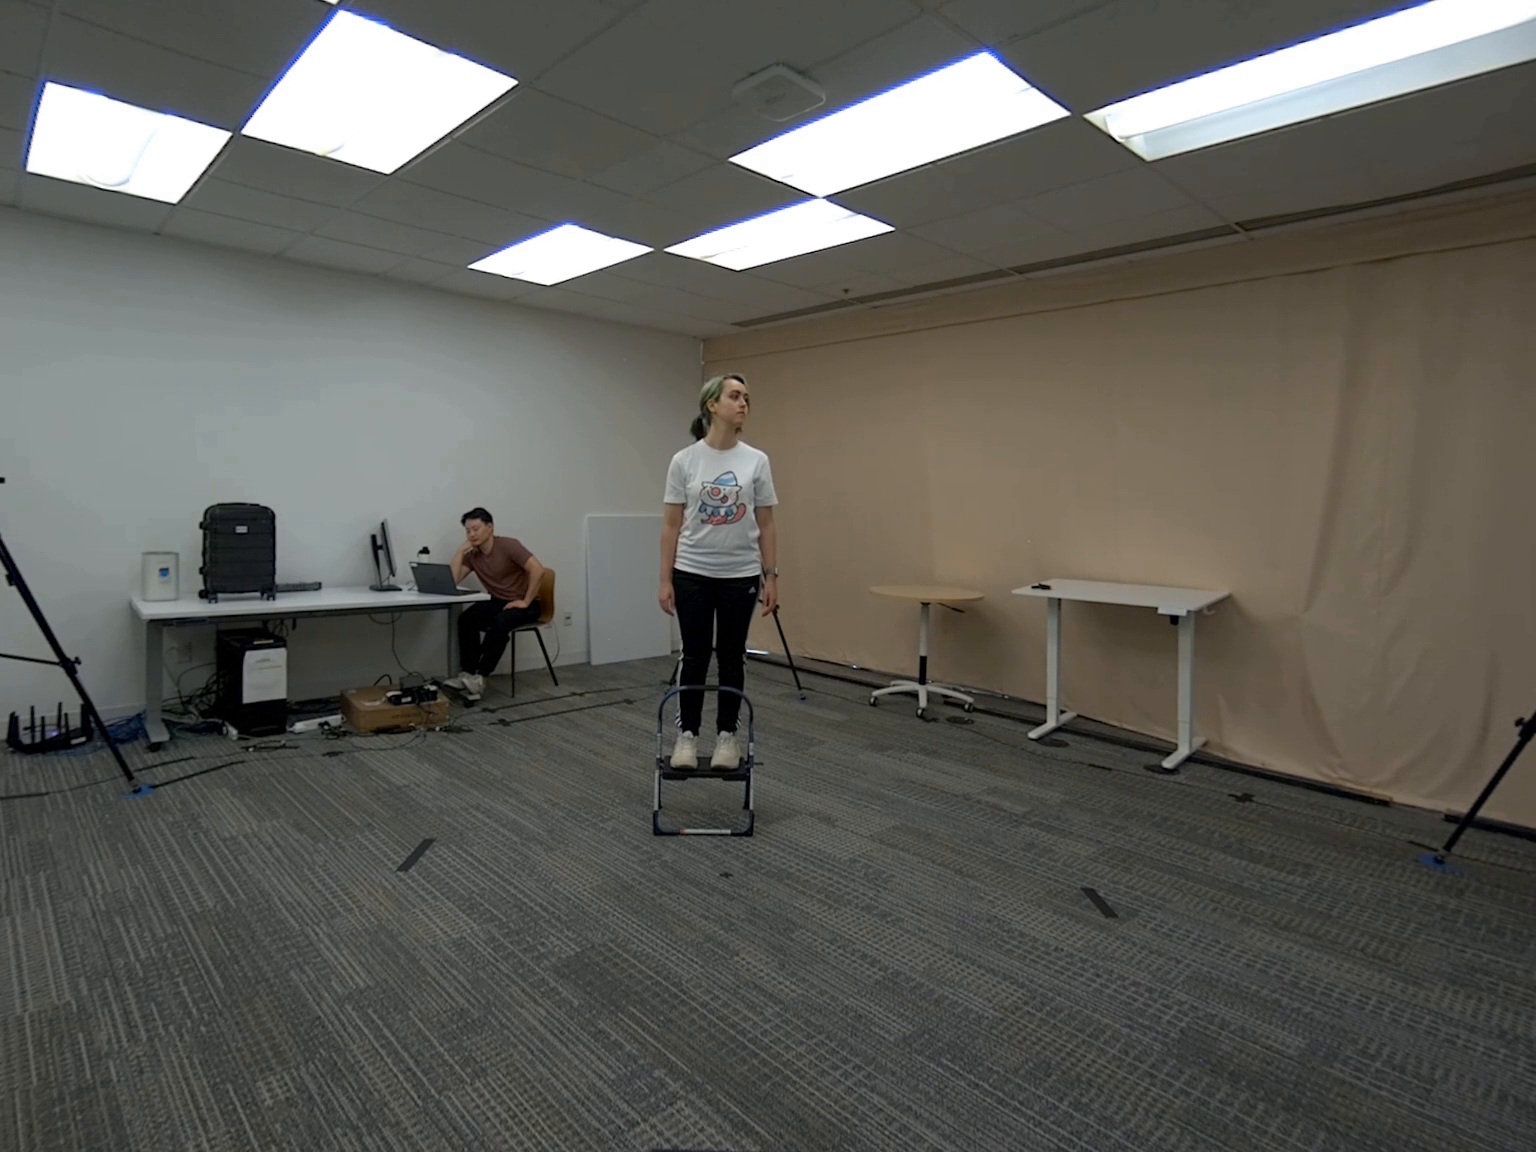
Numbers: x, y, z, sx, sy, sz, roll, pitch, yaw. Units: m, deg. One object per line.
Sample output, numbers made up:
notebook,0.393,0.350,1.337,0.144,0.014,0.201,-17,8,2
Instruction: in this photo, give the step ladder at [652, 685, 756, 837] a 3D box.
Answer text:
step ladder,-0.281,0.756,3.613,0.429,0.605,0.351,1,3,-4
